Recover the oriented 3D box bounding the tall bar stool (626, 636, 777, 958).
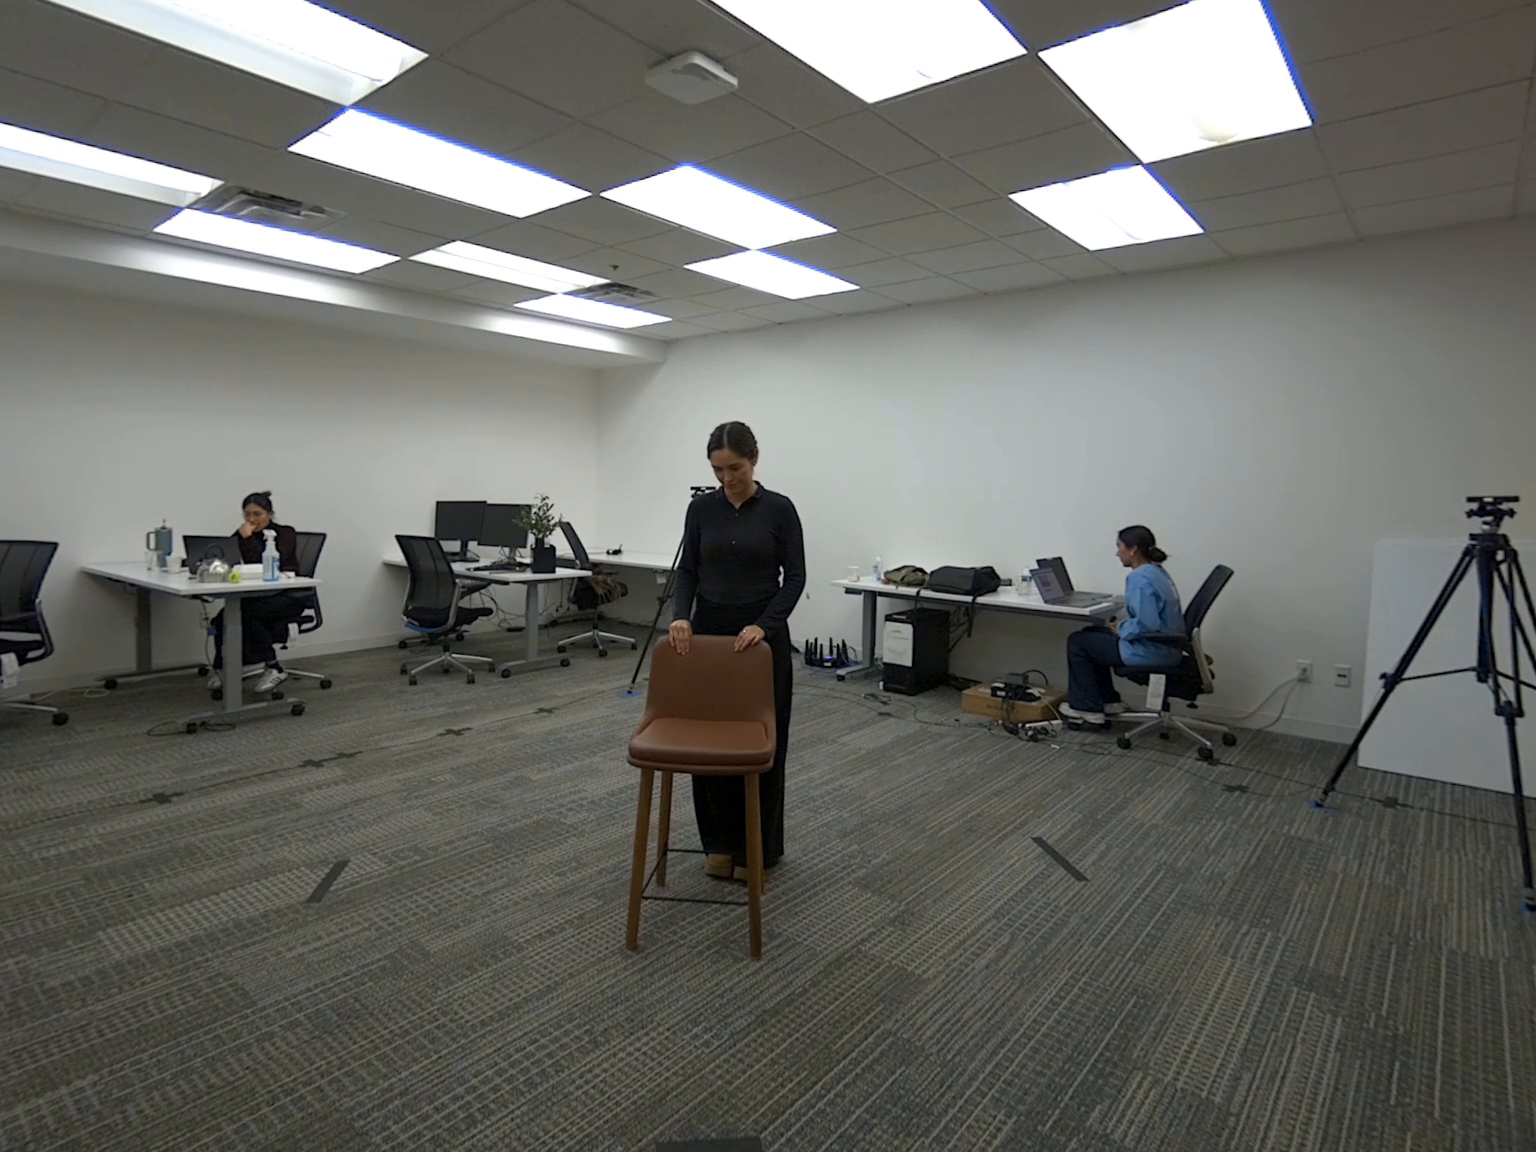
[{"bbox_3d":[-0.209,0.663,2.737,0.460,0.889,0.465,1,1,5],"label":"tall bar stool"}]
